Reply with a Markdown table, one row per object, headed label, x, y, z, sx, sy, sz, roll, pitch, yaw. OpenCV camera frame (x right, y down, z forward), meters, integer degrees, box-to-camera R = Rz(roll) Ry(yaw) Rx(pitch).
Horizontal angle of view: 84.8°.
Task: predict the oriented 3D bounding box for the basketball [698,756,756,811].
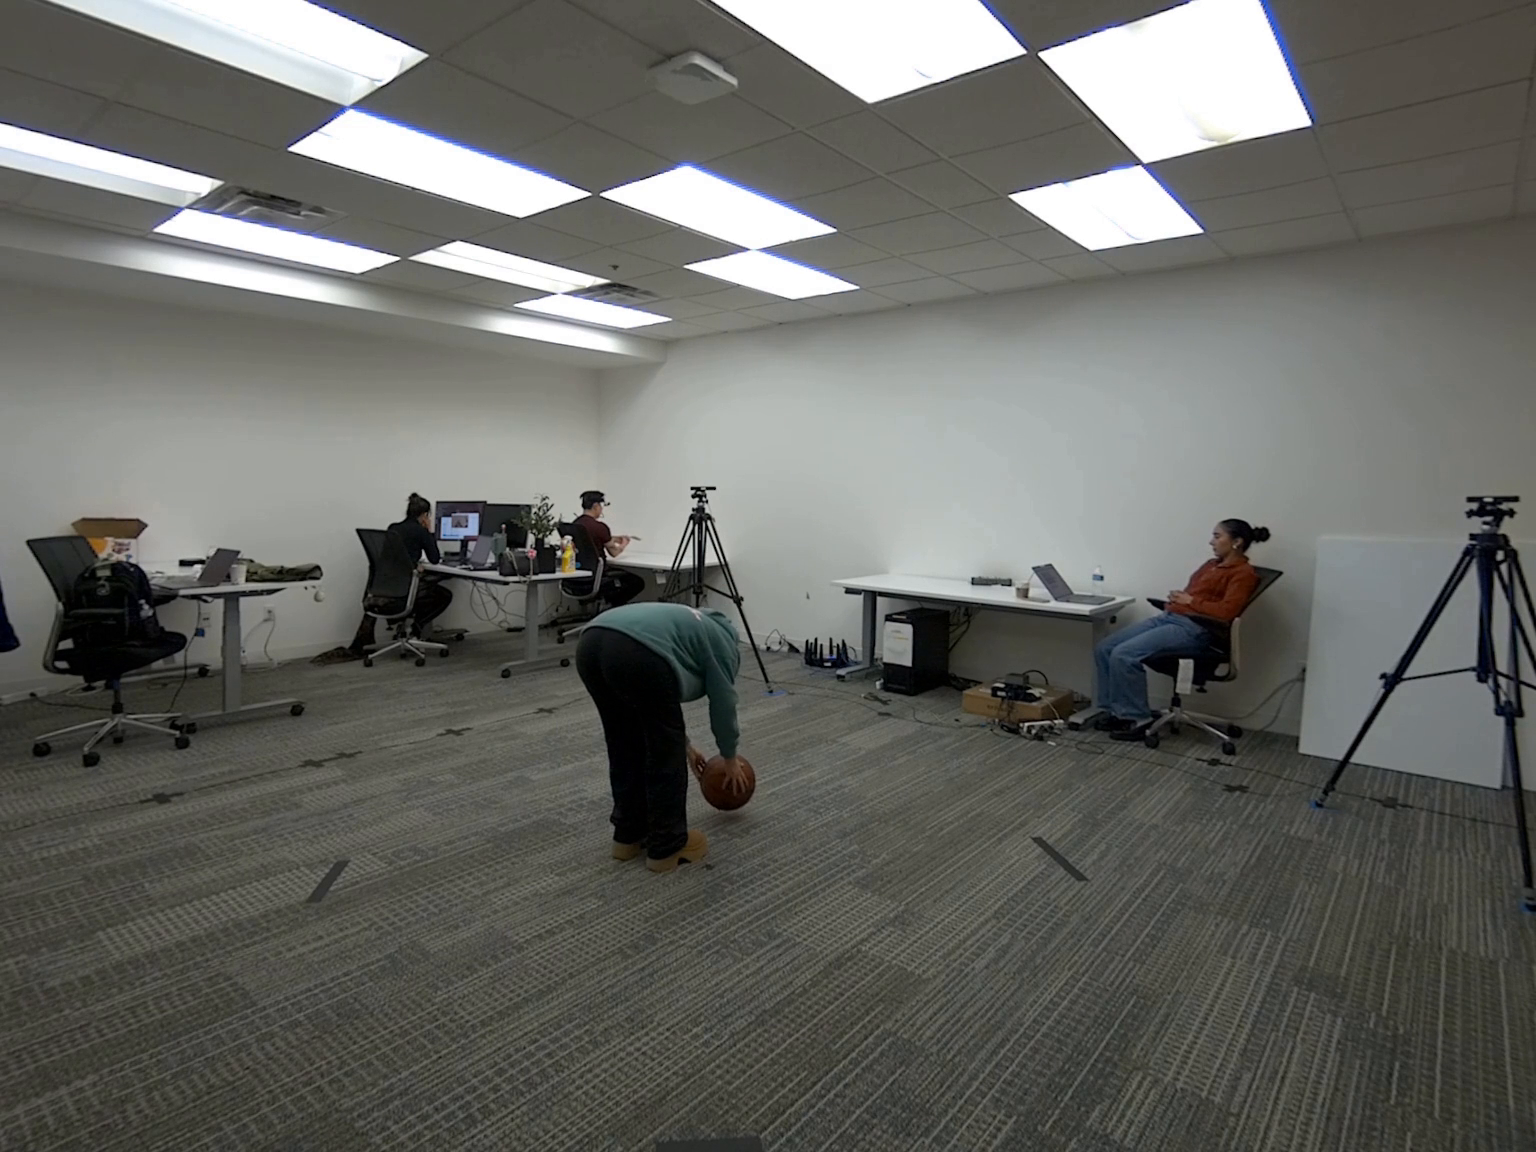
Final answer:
| label | x | y | z | sx | sy | sz | roll | pitch | yaw |
| --- | --- | --- | --- | --- | --- | --- | --- | --- | --- |
| basketball | -0.184 | 0.840 | 3.581 | 0.235 | 0.235 | 0.237 | 1 | 4 | -2 |
